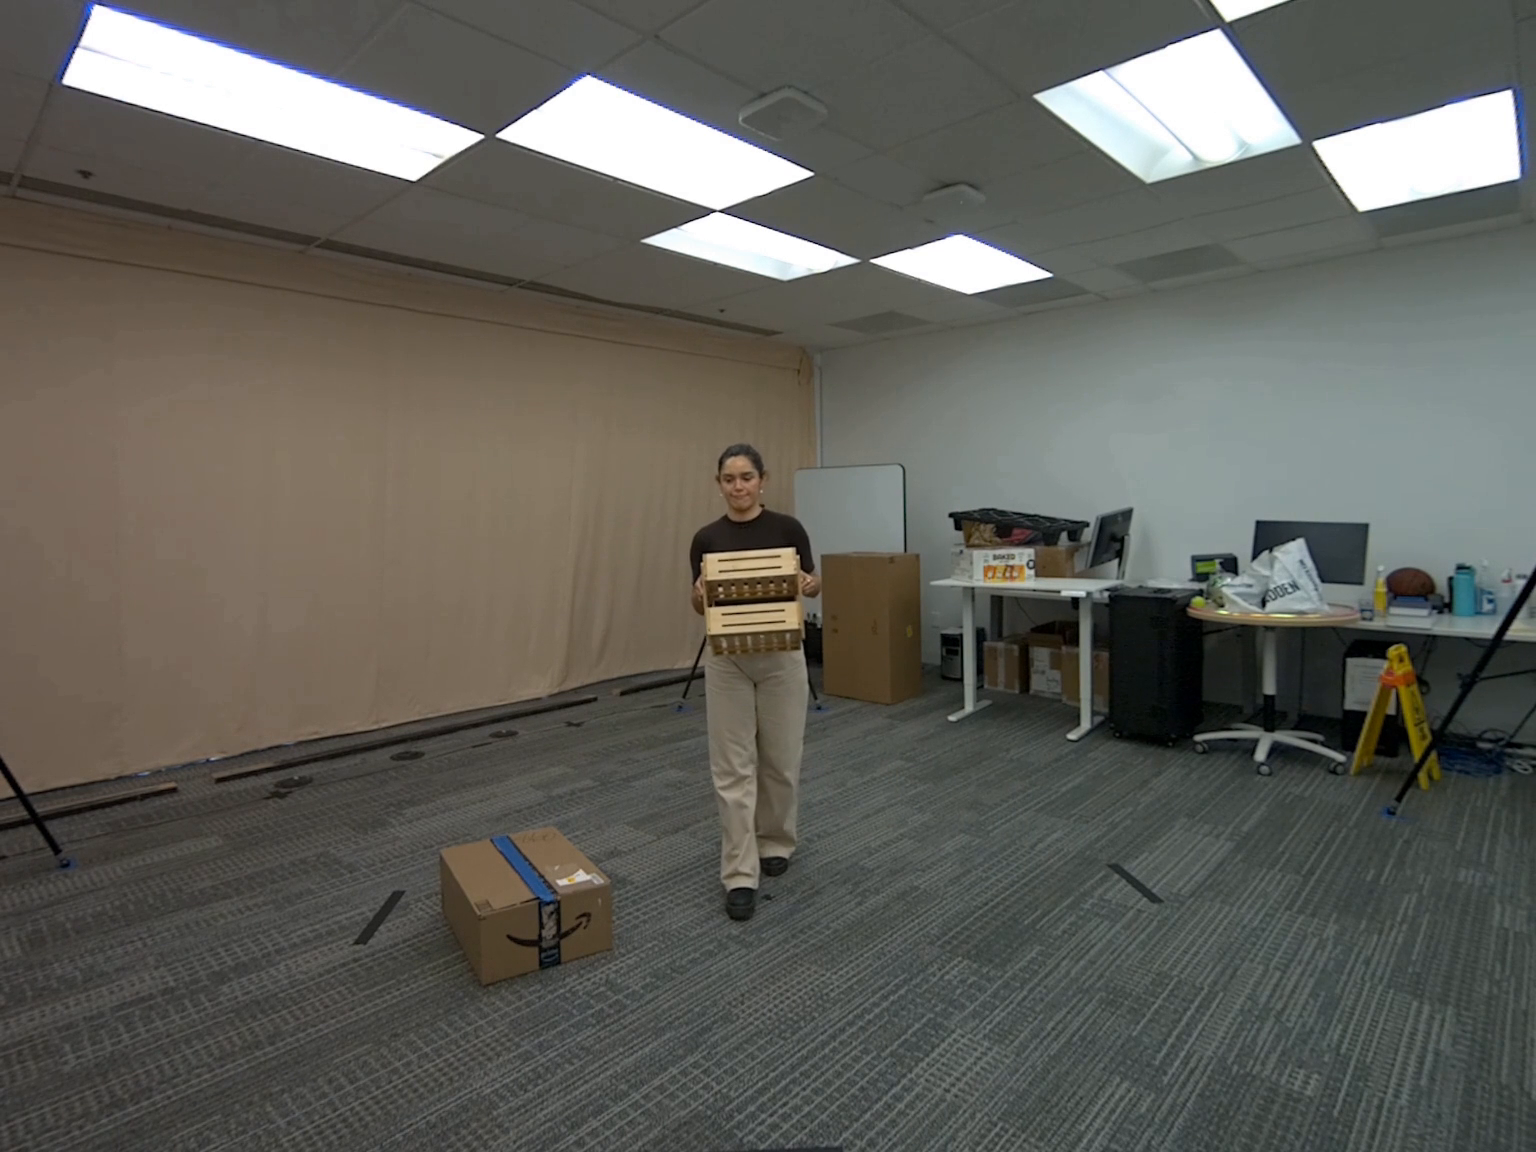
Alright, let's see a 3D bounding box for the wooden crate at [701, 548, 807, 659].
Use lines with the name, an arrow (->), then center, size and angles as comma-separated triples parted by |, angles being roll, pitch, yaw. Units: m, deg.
wooden crate -> -0.055, 0.089, 2.814 | 0.325, 0.277, 0.297 | -3, -23, 0
